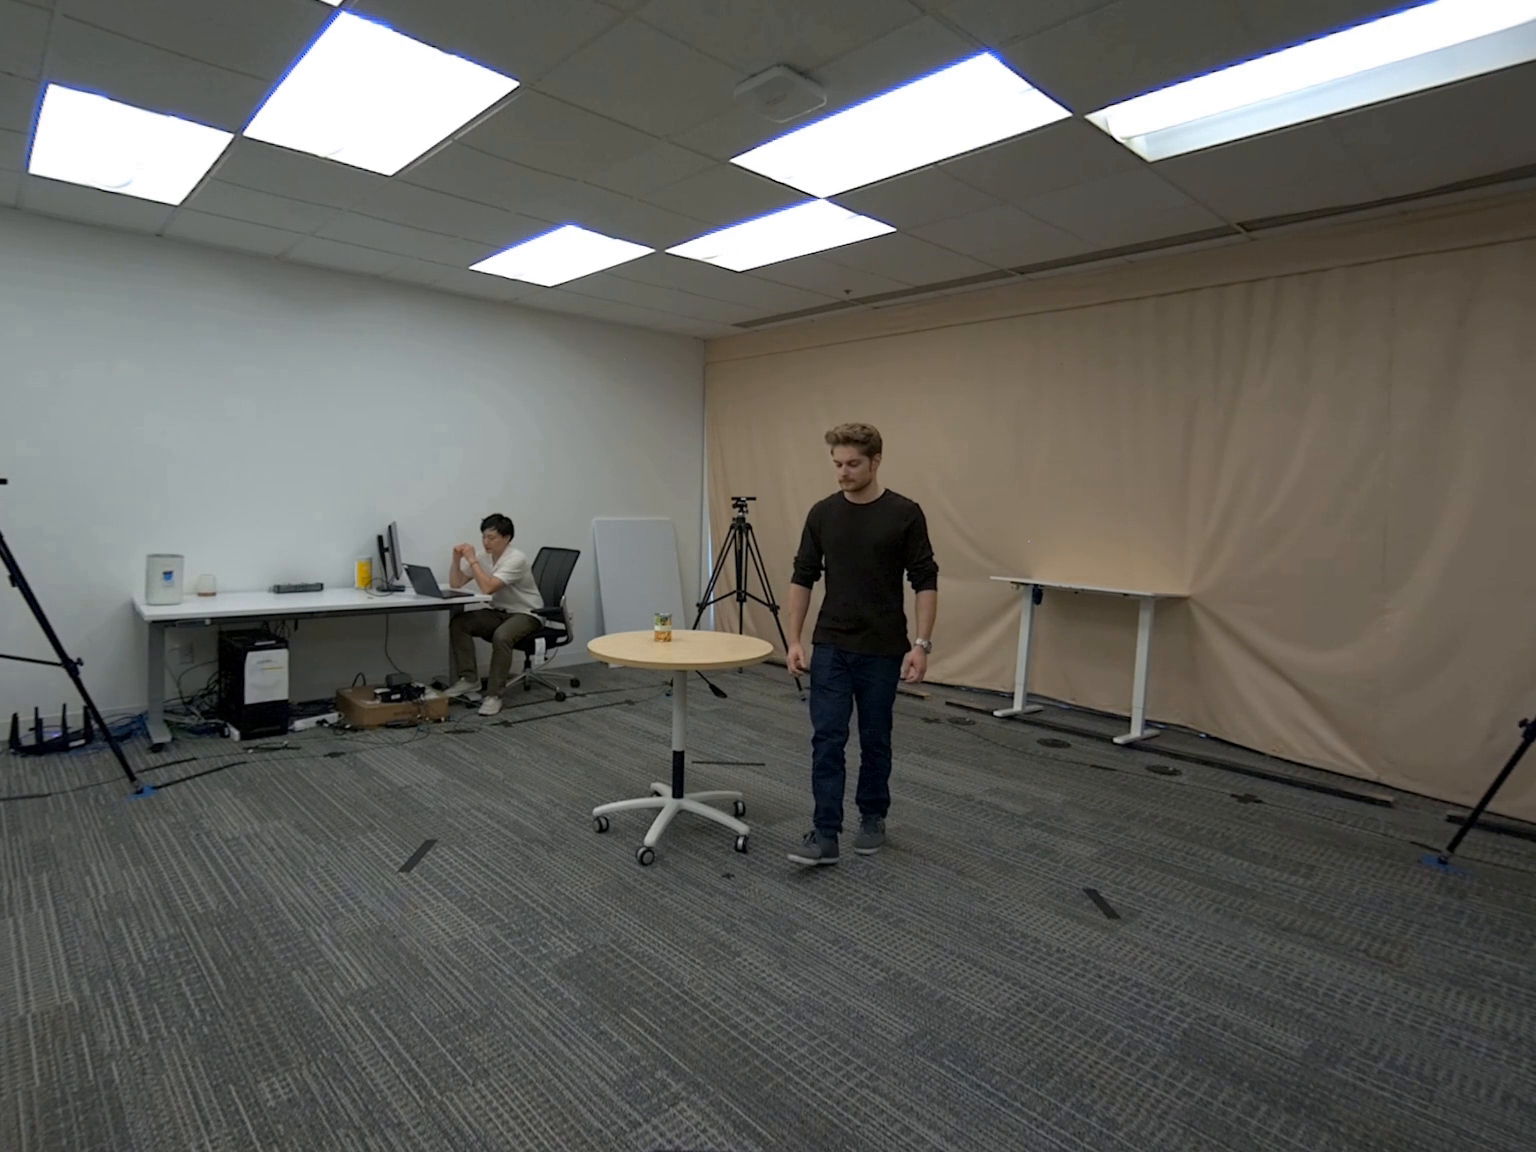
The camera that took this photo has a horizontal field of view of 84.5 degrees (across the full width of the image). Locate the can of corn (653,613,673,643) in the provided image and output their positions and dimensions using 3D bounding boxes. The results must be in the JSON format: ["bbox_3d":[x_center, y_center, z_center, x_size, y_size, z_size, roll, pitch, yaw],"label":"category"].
[{"bbox_3d":[-0.451,0.216,3.574,0.074,0.111,0.074,3,0,-1],"label":"can of corn"}]
